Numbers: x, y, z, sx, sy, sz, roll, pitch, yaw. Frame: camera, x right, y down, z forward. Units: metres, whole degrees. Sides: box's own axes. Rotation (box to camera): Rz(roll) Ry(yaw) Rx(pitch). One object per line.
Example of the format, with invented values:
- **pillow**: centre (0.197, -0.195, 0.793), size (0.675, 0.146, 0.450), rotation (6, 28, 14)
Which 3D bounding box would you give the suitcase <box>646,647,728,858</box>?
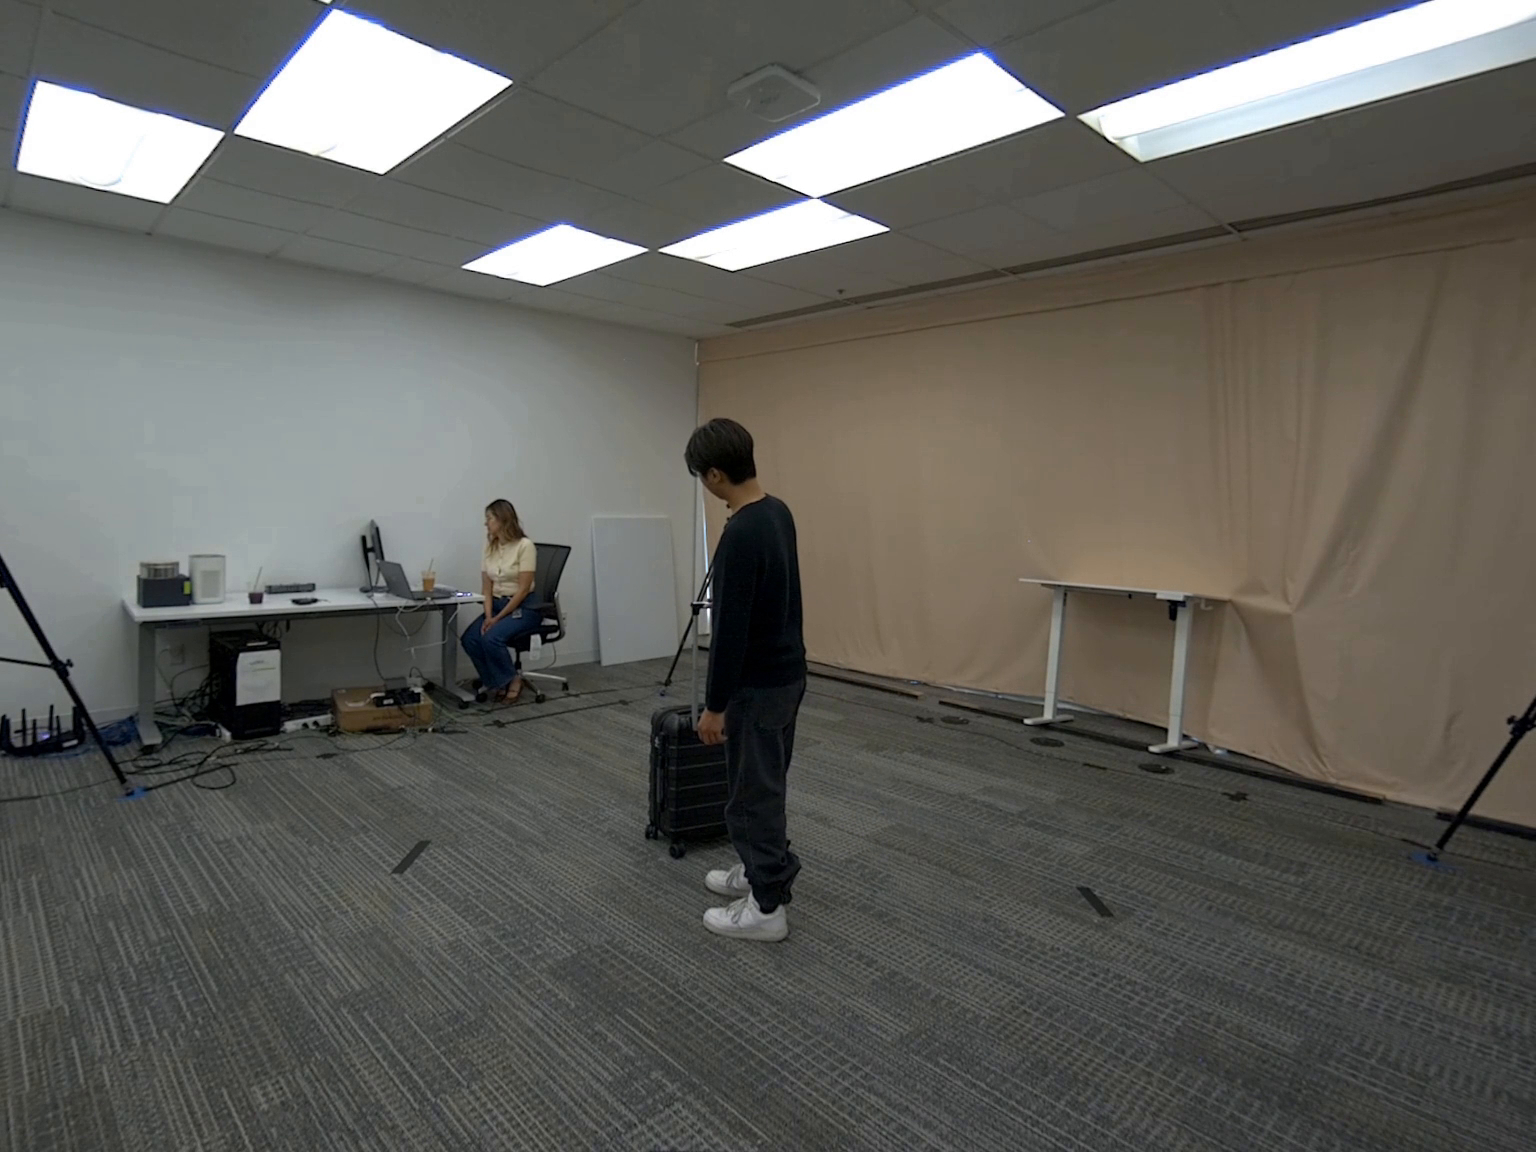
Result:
- **suitcase**: centre (-0.297, 0.599, 3.419), size (0.376, 0.978, 0.262), rotation (1, 1, -28)
